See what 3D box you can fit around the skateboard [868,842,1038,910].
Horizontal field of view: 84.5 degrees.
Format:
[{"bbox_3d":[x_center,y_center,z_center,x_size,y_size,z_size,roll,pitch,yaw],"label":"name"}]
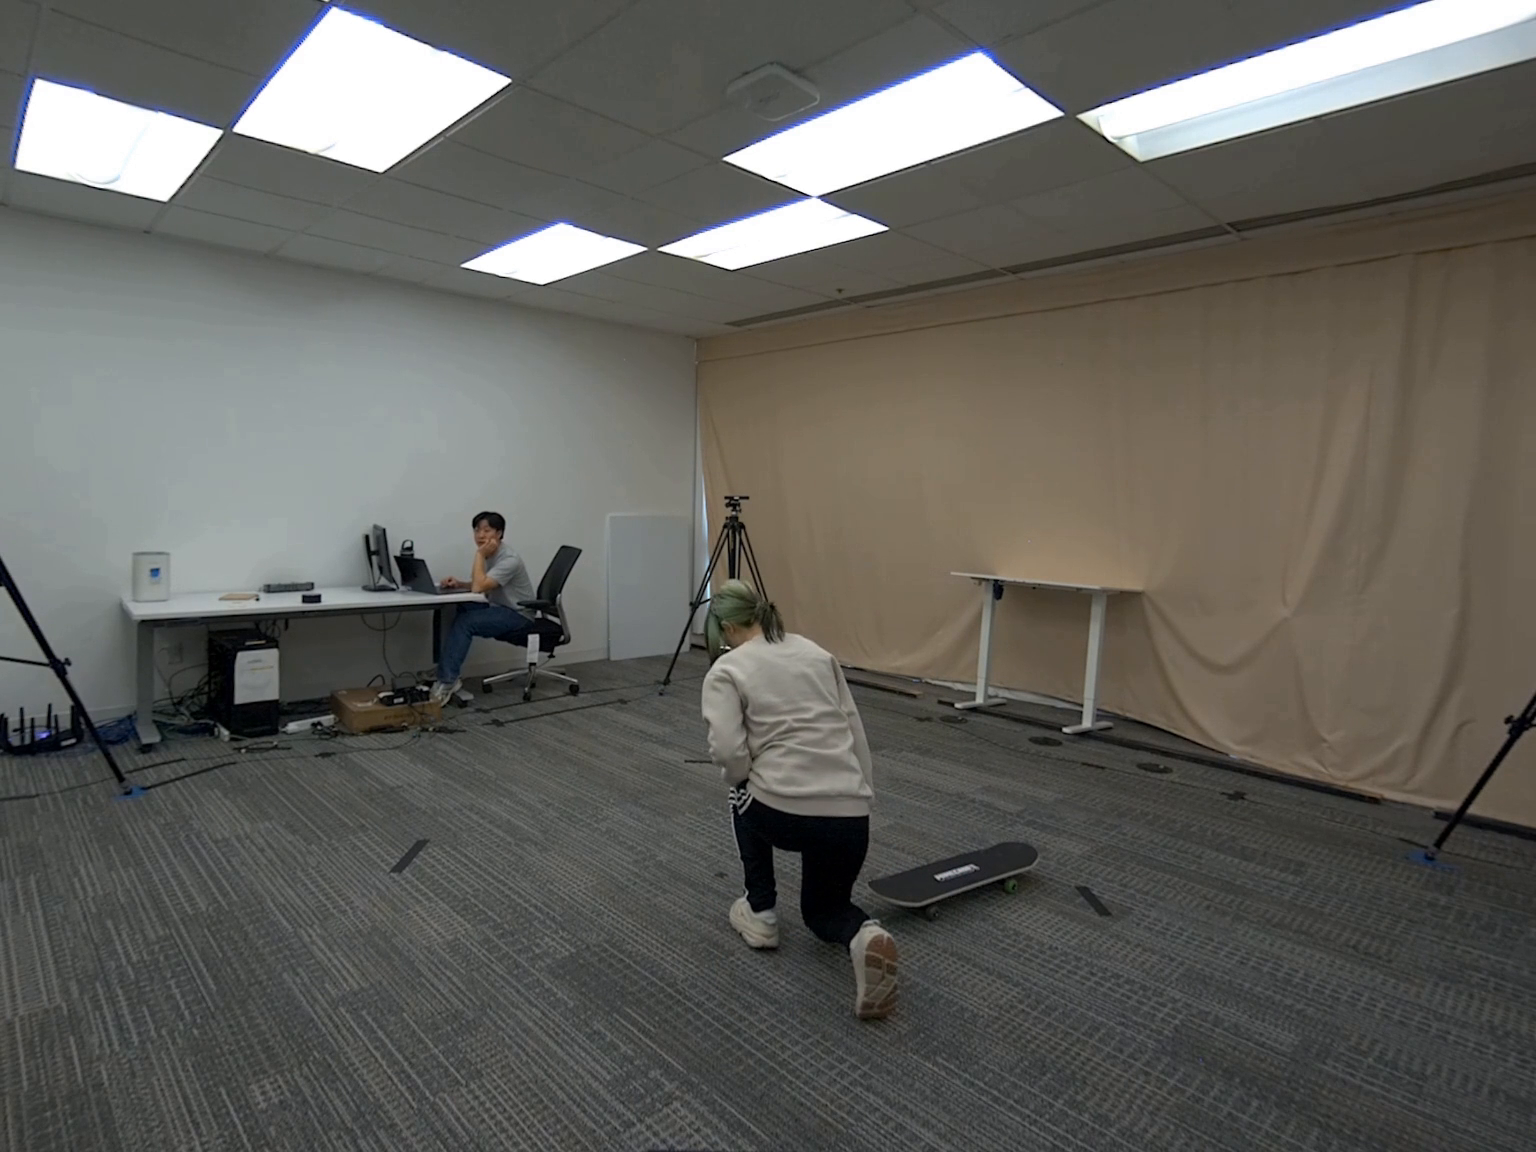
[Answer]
[{"bbox_3d":[0.664,1.082,2.973,0.769,0.110,0.198,-2,6,-34],"label":"skateboard"}]
